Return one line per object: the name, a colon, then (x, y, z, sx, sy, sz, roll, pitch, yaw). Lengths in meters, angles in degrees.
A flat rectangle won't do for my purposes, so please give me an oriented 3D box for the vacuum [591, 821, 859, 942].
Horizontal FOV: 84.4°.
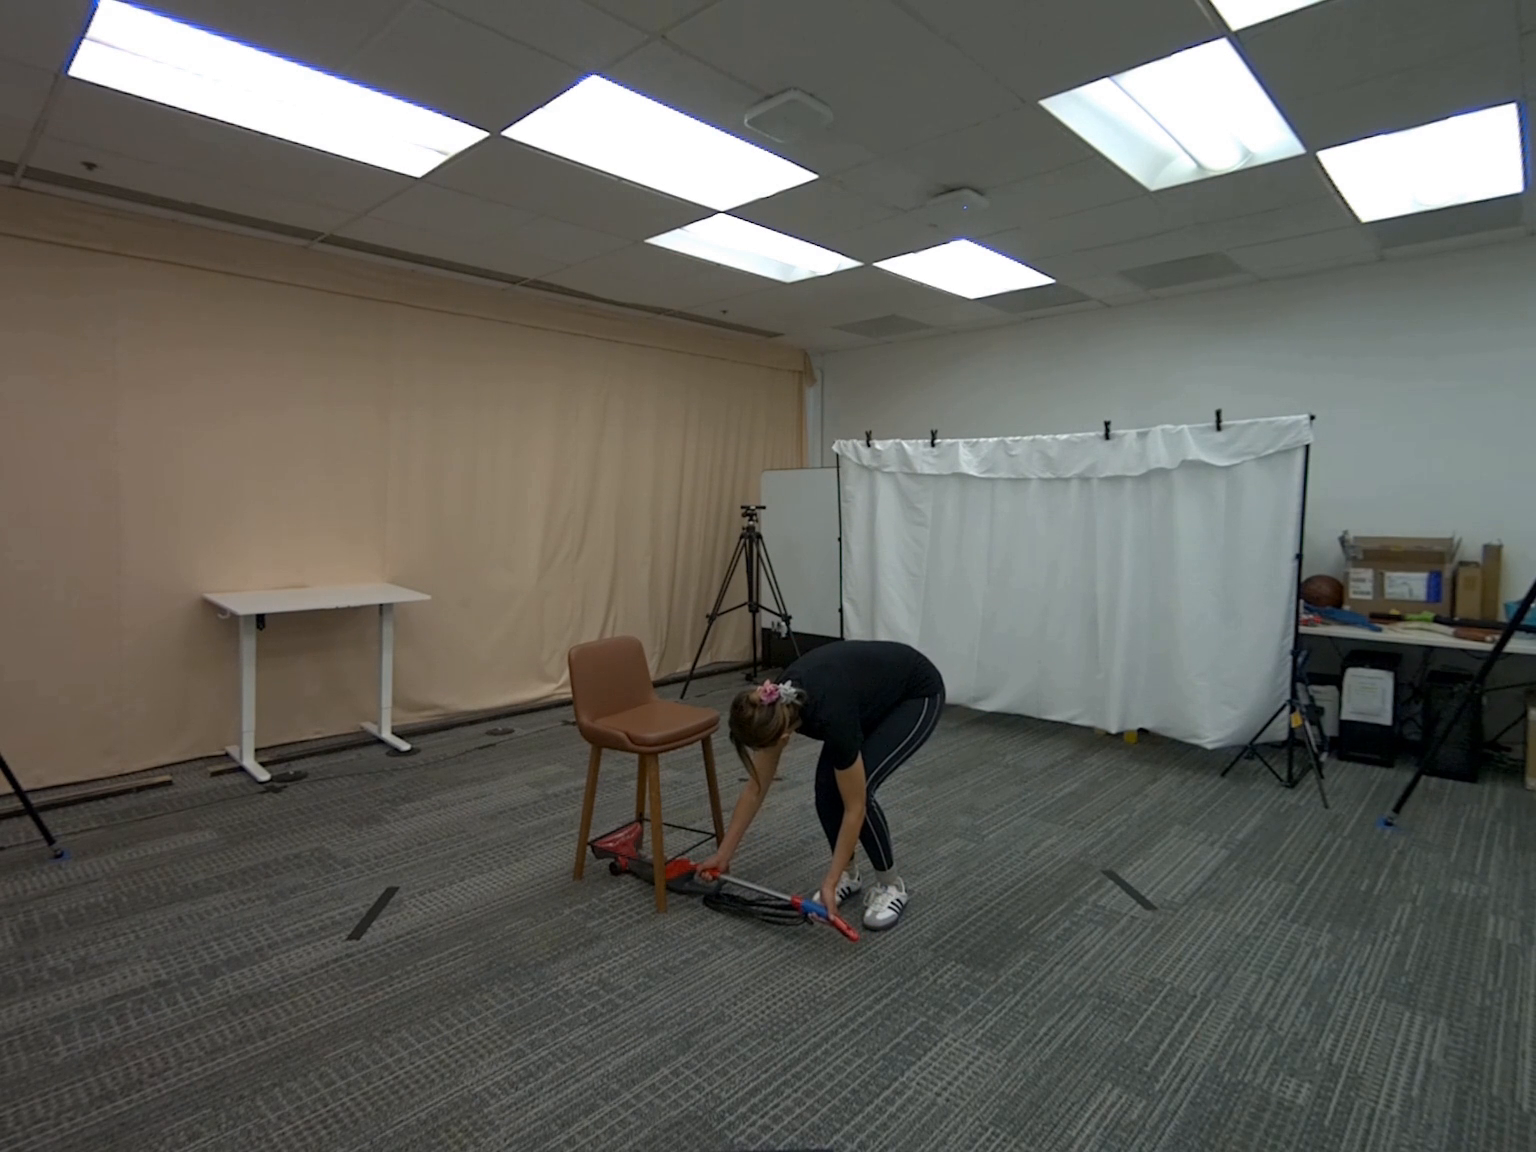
vacuum: (-0.145, 1.098, 2.910, 1.083, 0.143, 0.245, 4, 5, 37)
